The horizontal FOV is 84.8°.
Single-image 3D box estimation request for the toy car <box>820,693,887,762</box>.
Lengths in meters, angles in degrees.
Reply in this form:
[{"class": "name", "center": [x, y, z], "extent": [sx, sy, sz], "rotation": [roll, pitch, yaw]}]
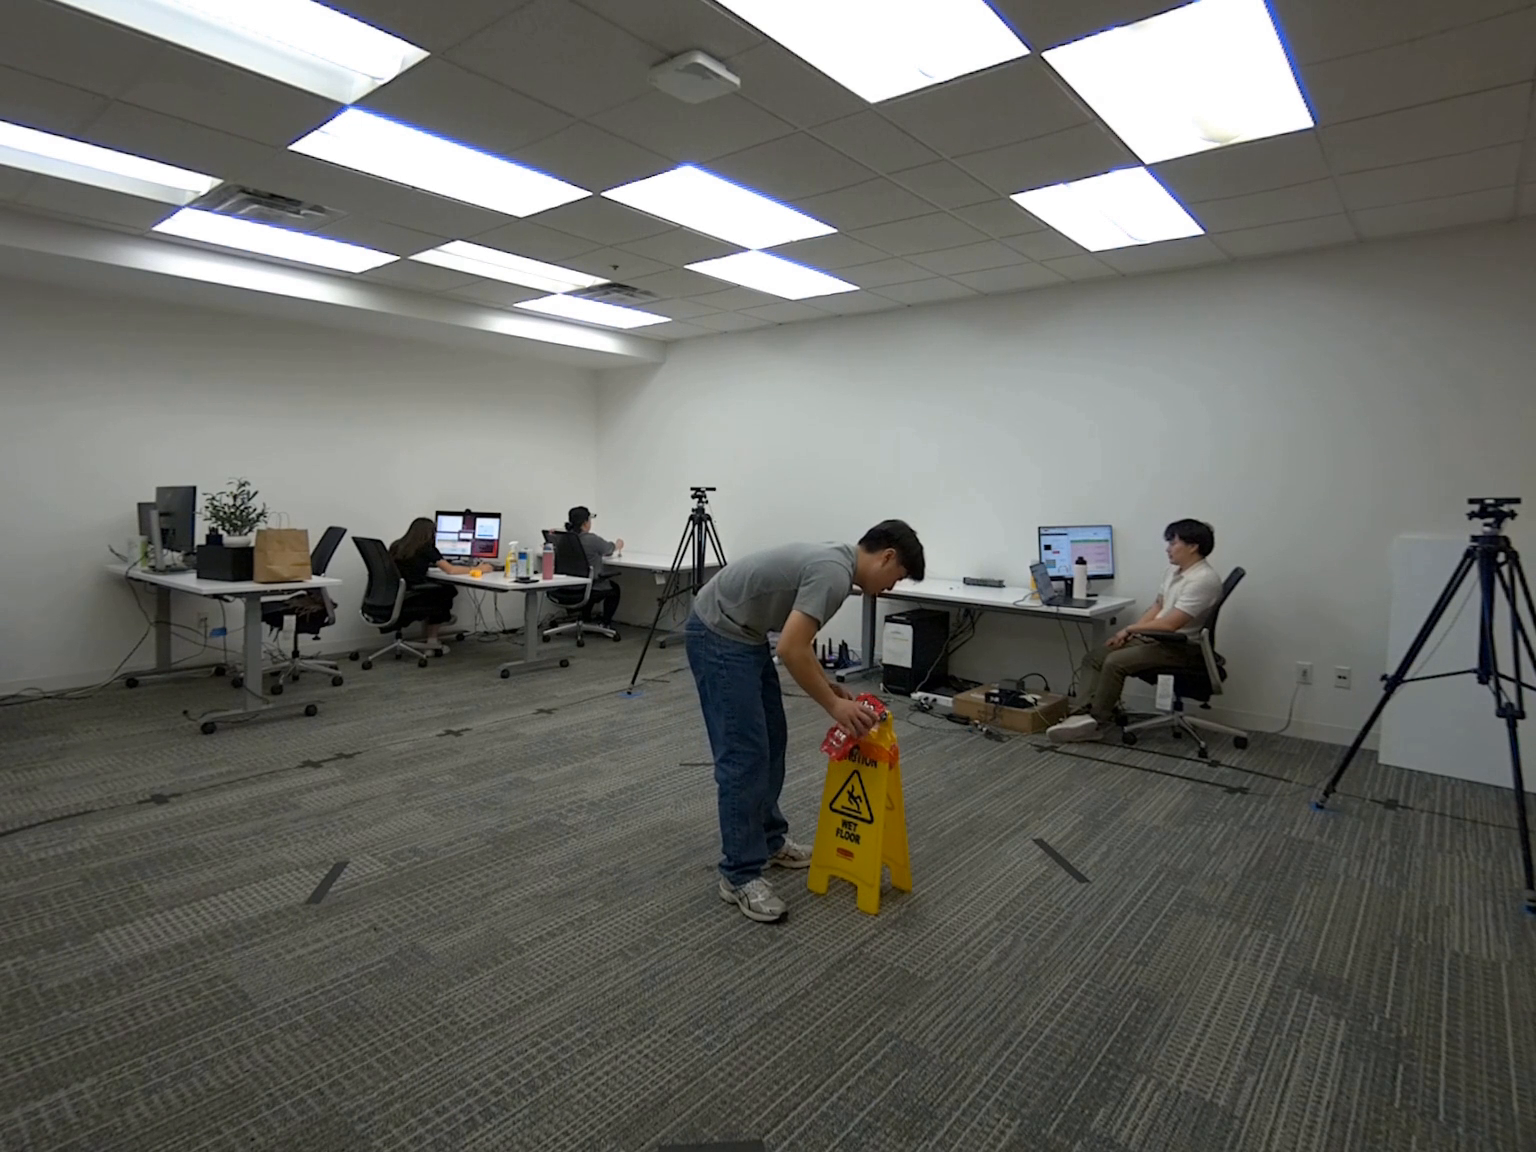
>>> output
[{"class": "toy car", "center": [0.284, 0.513, 2.859], "extent": [0.254, 0.080, 0.136], "rotation": [-41, 44, -11]}]
